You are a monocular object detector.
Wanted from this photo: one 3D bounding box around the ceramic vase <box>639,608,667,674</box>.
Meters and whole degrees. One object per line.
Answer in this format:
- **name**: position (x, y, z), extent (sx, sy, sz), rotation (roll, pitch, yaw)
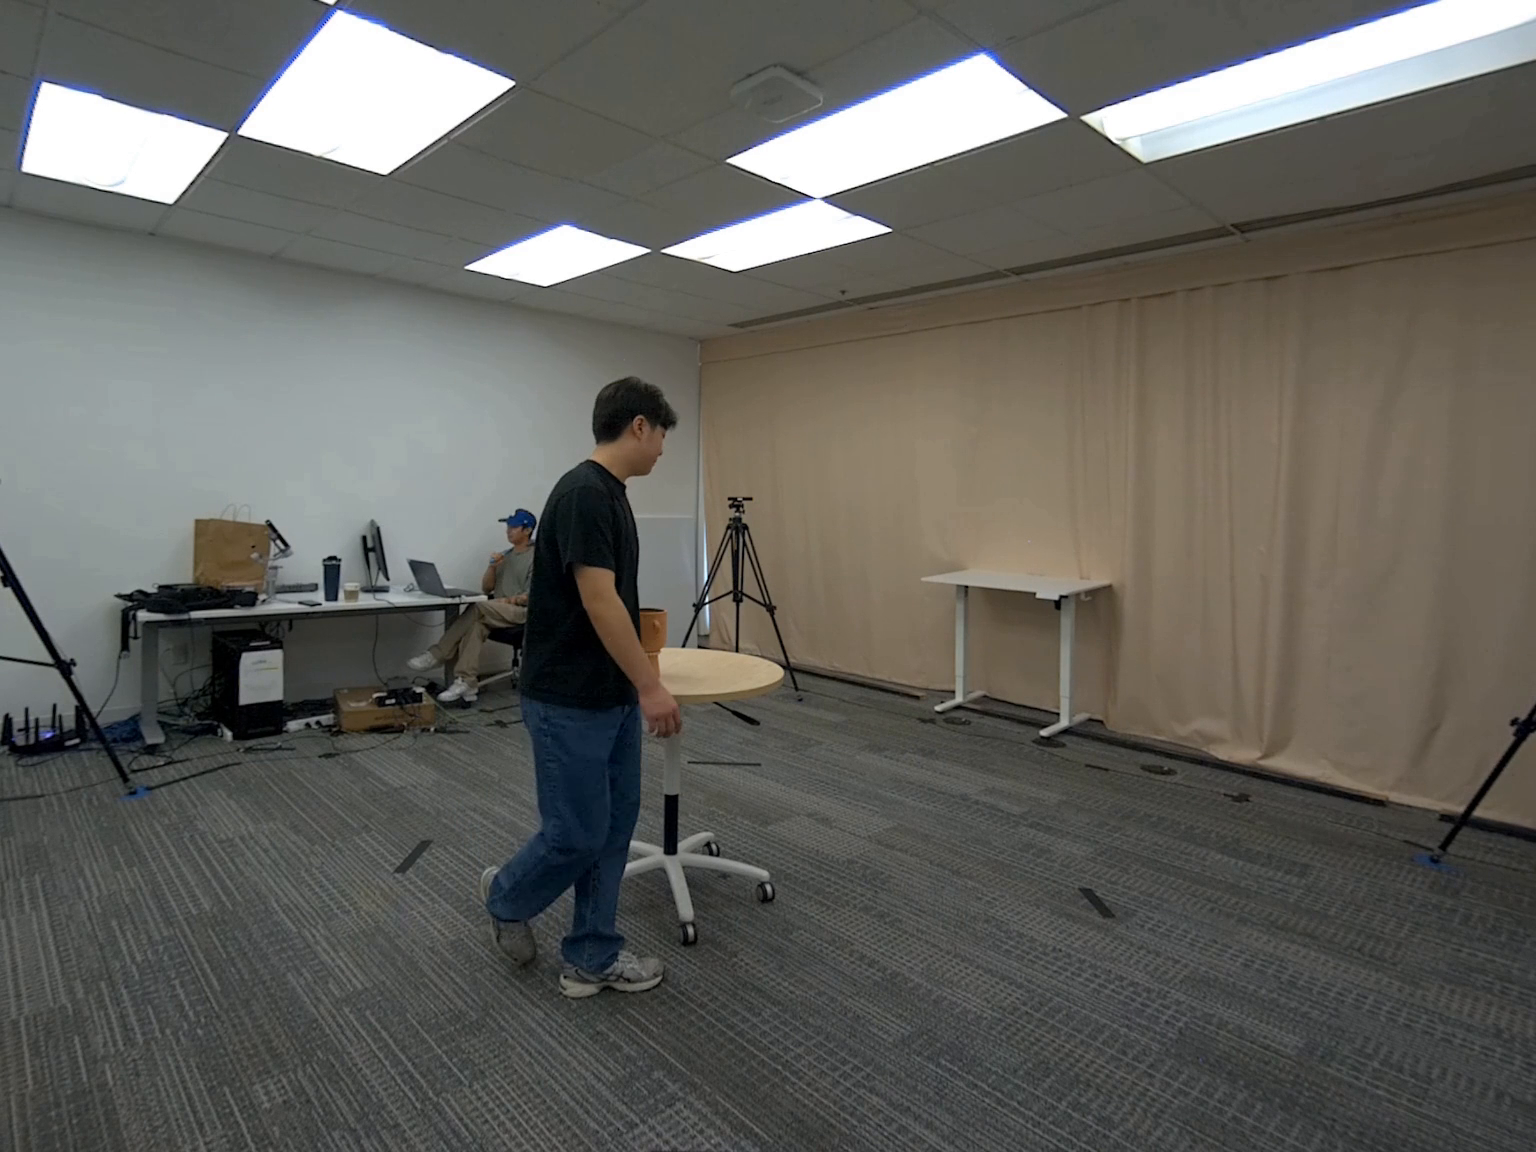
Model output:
- **ceramic vase**: position (-0.408, 0.228, 2.775), extent (0.136, 0.219, 0.157), rotation (3, 3, 11)
